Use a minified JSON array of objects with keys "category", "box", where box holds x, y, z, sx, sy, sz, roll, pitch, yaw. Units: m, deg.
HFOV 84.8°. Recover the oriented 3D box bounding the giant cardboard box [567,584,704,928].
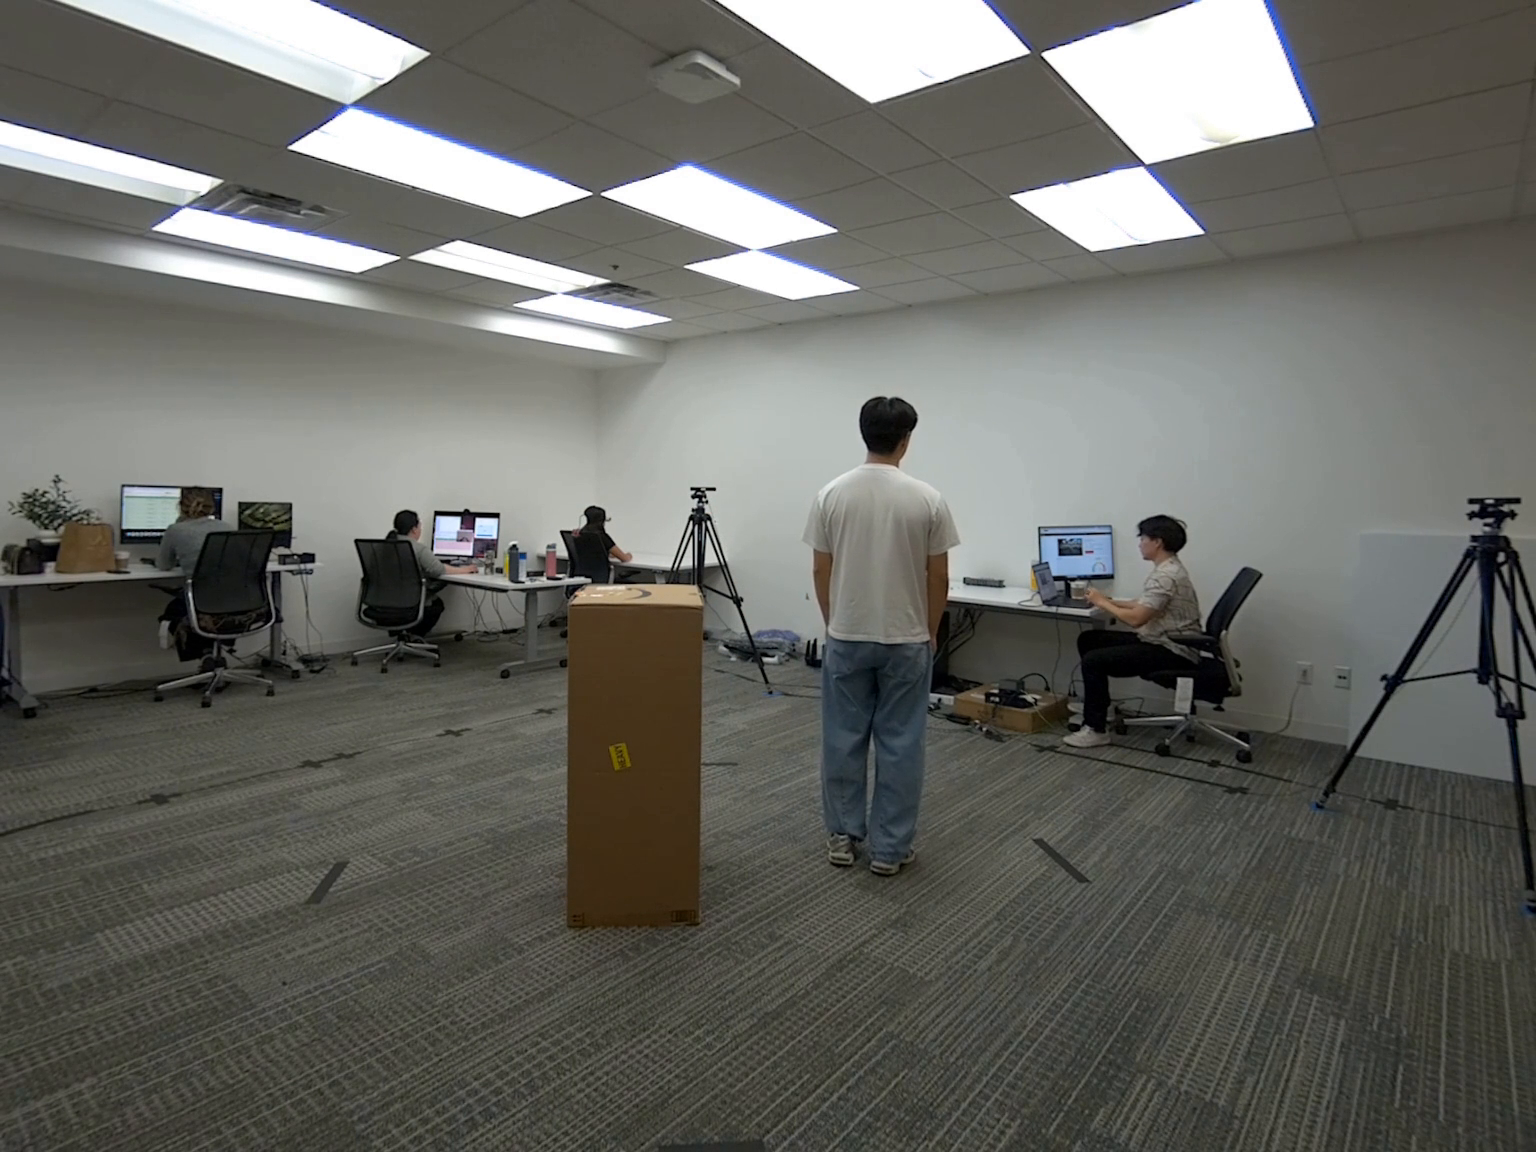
[{"category":"giant cardboard box","box":[-0.469,0.572,2.940,0.423,1.023,0.583,0,3,-7]}]
